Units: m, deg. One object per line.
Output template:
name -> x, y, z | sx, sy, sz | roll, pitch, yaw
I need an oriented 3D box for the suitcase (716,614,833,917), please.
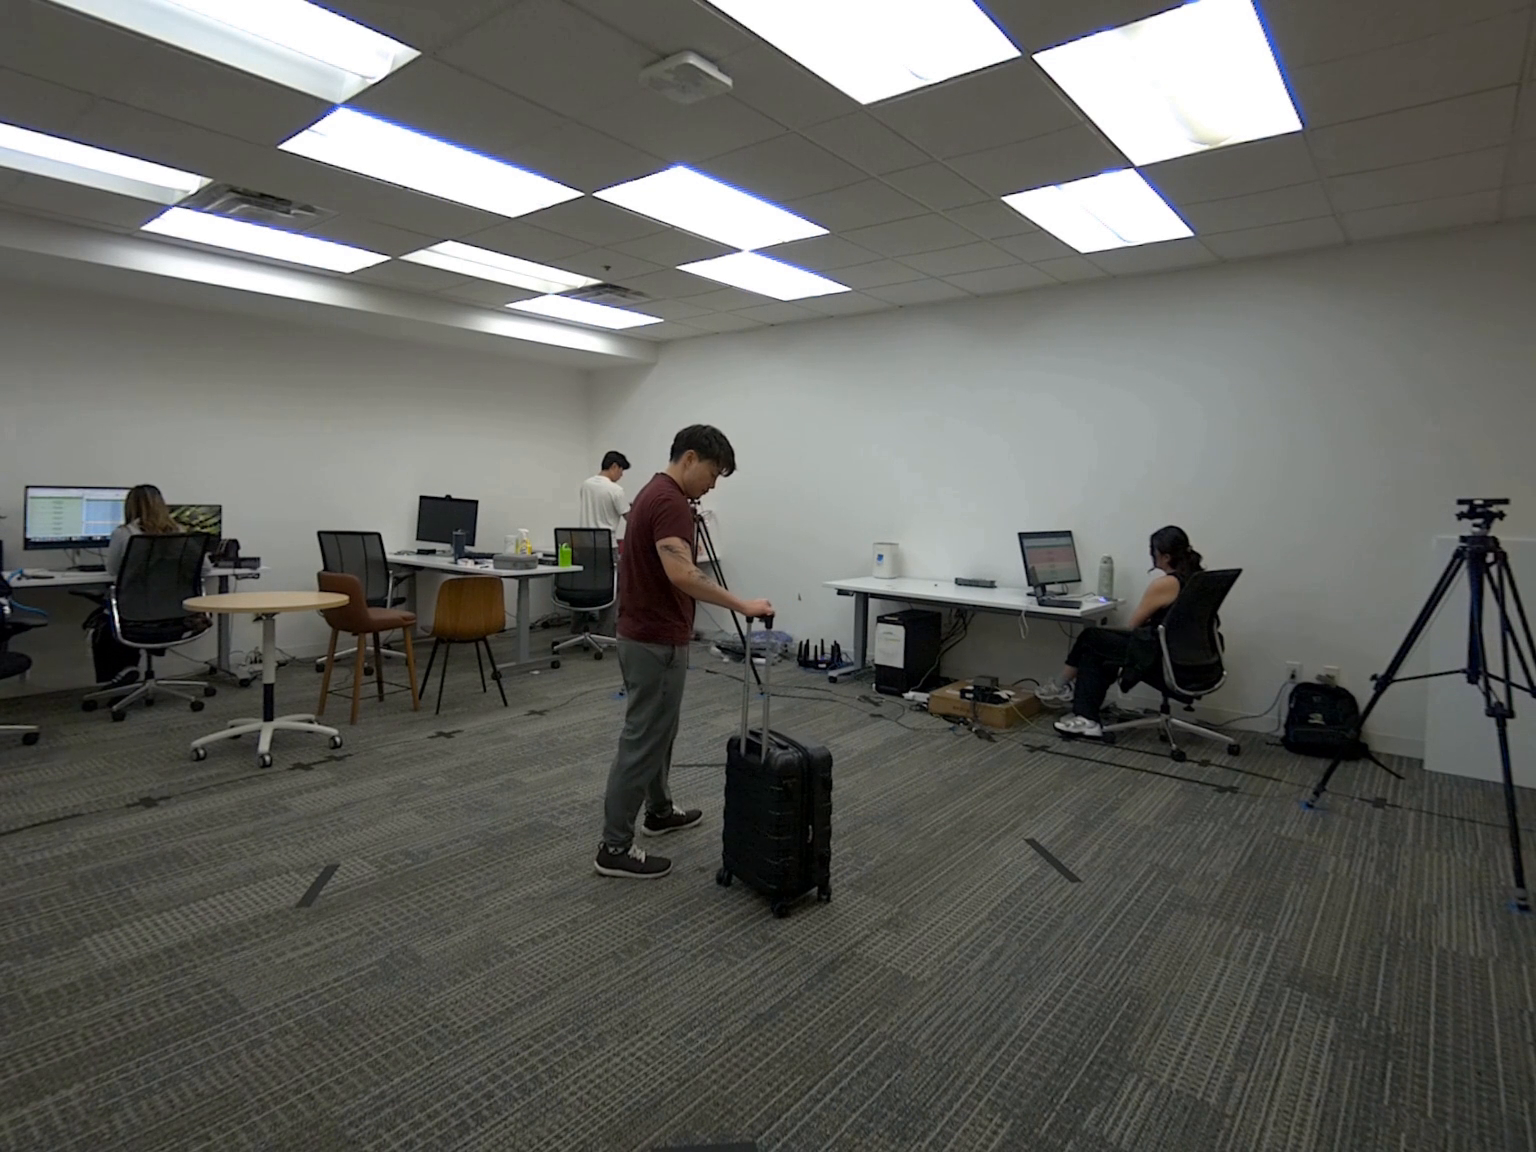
suitcase -> 0.033, 0.614, 2.932 | 0.249, 0.977, 0.396 | 2, 2, -33
